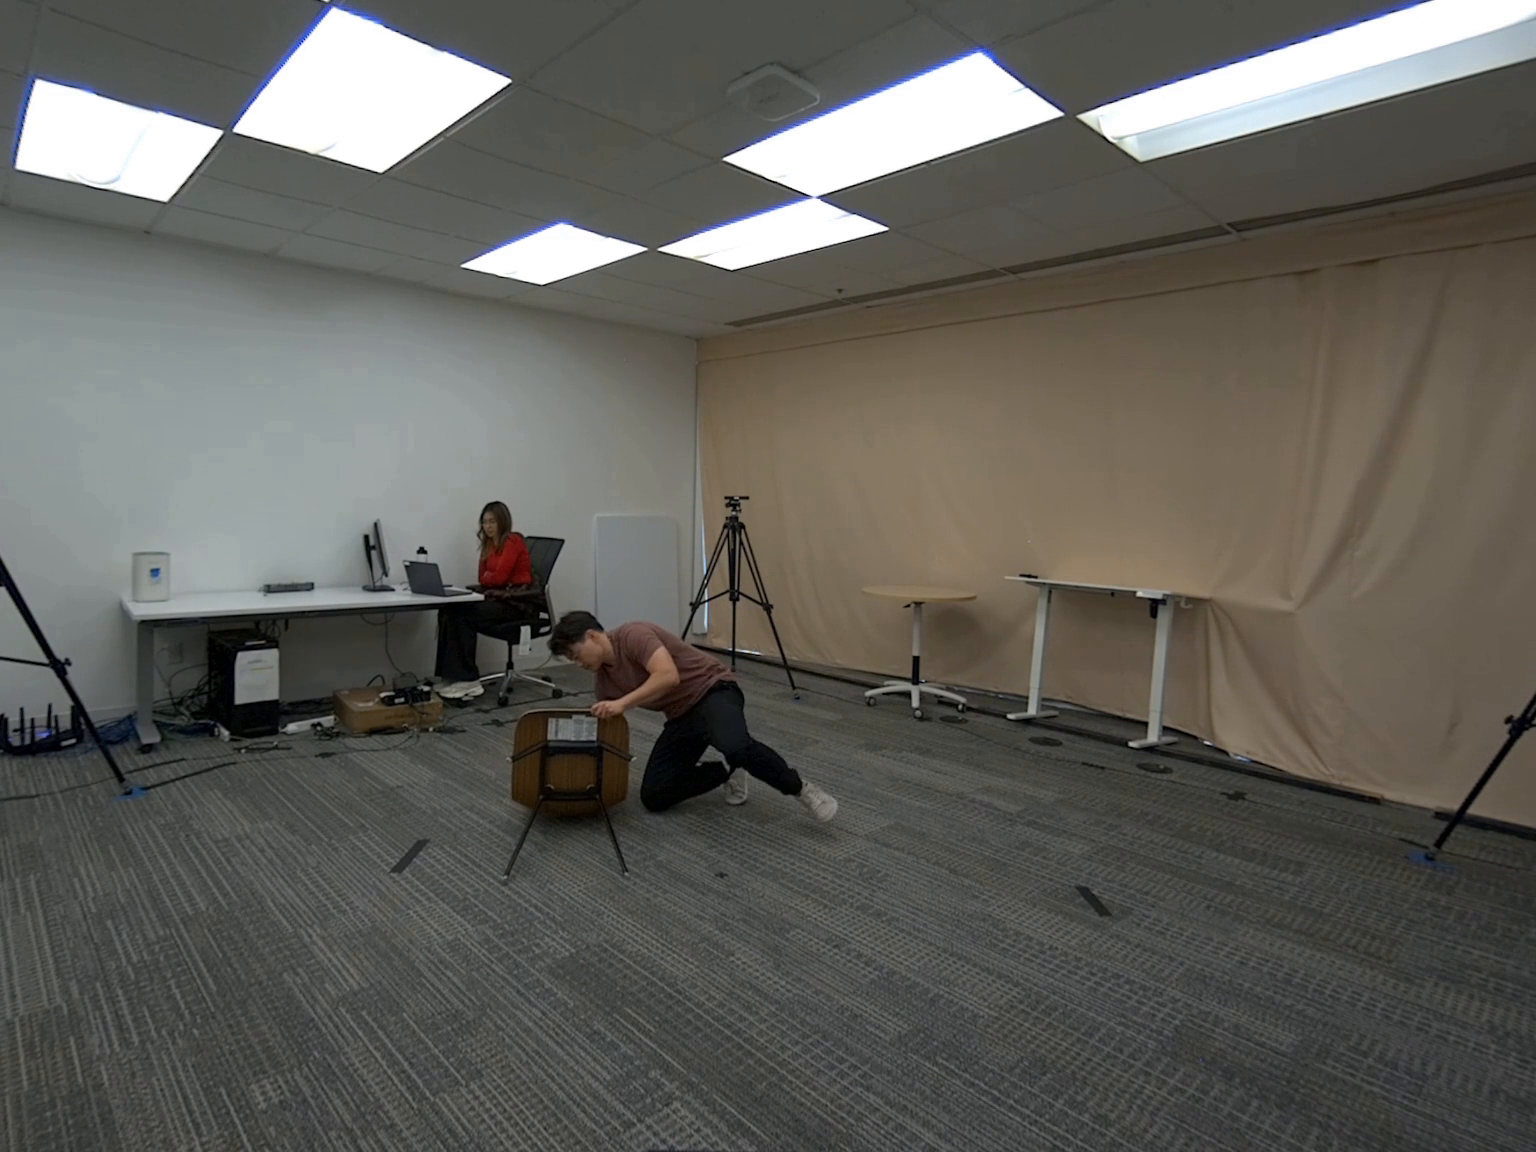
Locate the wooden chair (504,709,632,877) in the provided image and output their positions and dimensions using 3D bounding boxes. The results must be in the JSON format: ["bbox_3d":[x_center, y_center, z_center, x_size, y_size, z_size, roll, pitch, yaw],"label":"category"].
[{"bbox_3d":[-0.802,0.794,3.417,0.473,0.522,0.888,2,4,-12],"label":"wooden chair"}]
